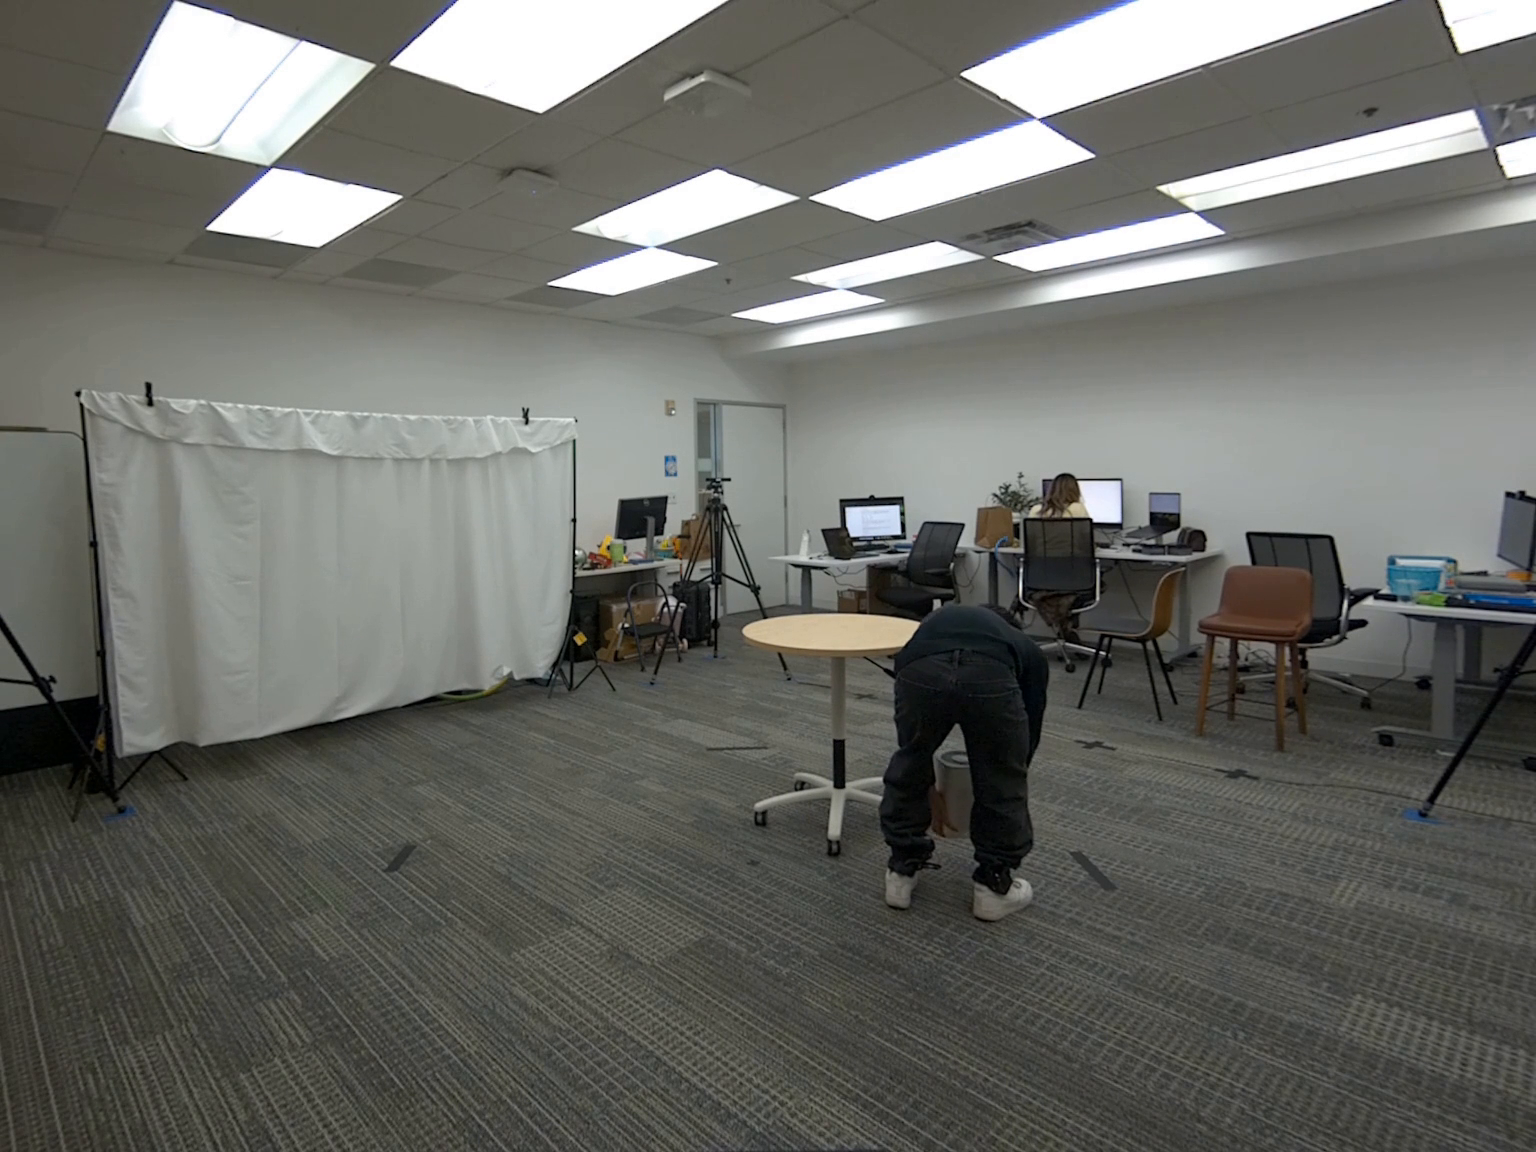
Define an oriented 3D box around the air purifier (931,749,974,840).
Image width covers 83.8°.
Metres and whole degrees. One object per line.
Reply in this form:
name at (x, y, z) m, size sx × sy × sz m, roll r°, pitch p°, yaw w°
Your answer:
air purifier at (0.684, 0.762, 3.014) m, size 0.170 × 0.264 × 0.173 m, roll -2°, pitch 7°, yaw -9°
